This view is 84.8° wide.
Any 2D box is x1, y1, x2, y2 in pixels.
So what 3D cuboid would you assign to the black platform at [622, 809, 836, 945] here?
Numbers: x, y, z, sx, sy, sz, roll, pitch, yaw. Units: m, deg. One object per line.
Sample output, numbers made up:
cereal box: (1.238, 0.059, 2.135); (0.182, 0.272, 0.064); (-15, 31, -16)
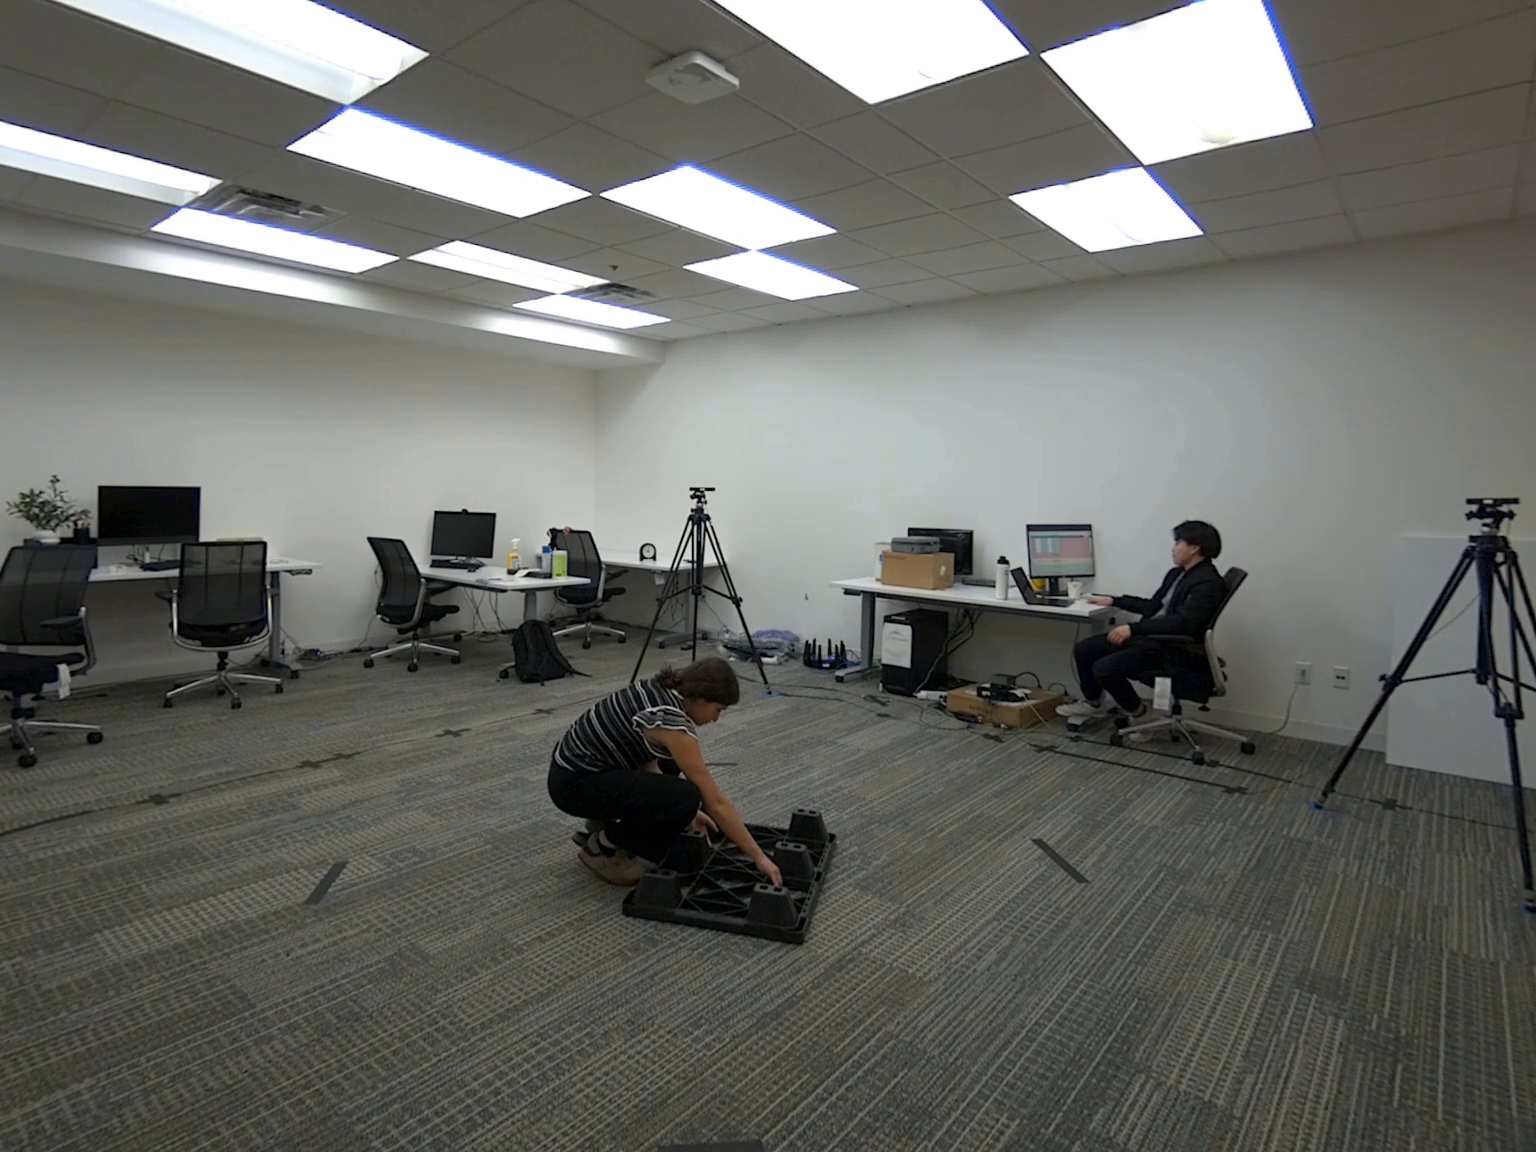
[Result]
black platform: (-0.113, 1.007, 3.054); (0.615, 0.143, 0.796); (3, 5, 13)
